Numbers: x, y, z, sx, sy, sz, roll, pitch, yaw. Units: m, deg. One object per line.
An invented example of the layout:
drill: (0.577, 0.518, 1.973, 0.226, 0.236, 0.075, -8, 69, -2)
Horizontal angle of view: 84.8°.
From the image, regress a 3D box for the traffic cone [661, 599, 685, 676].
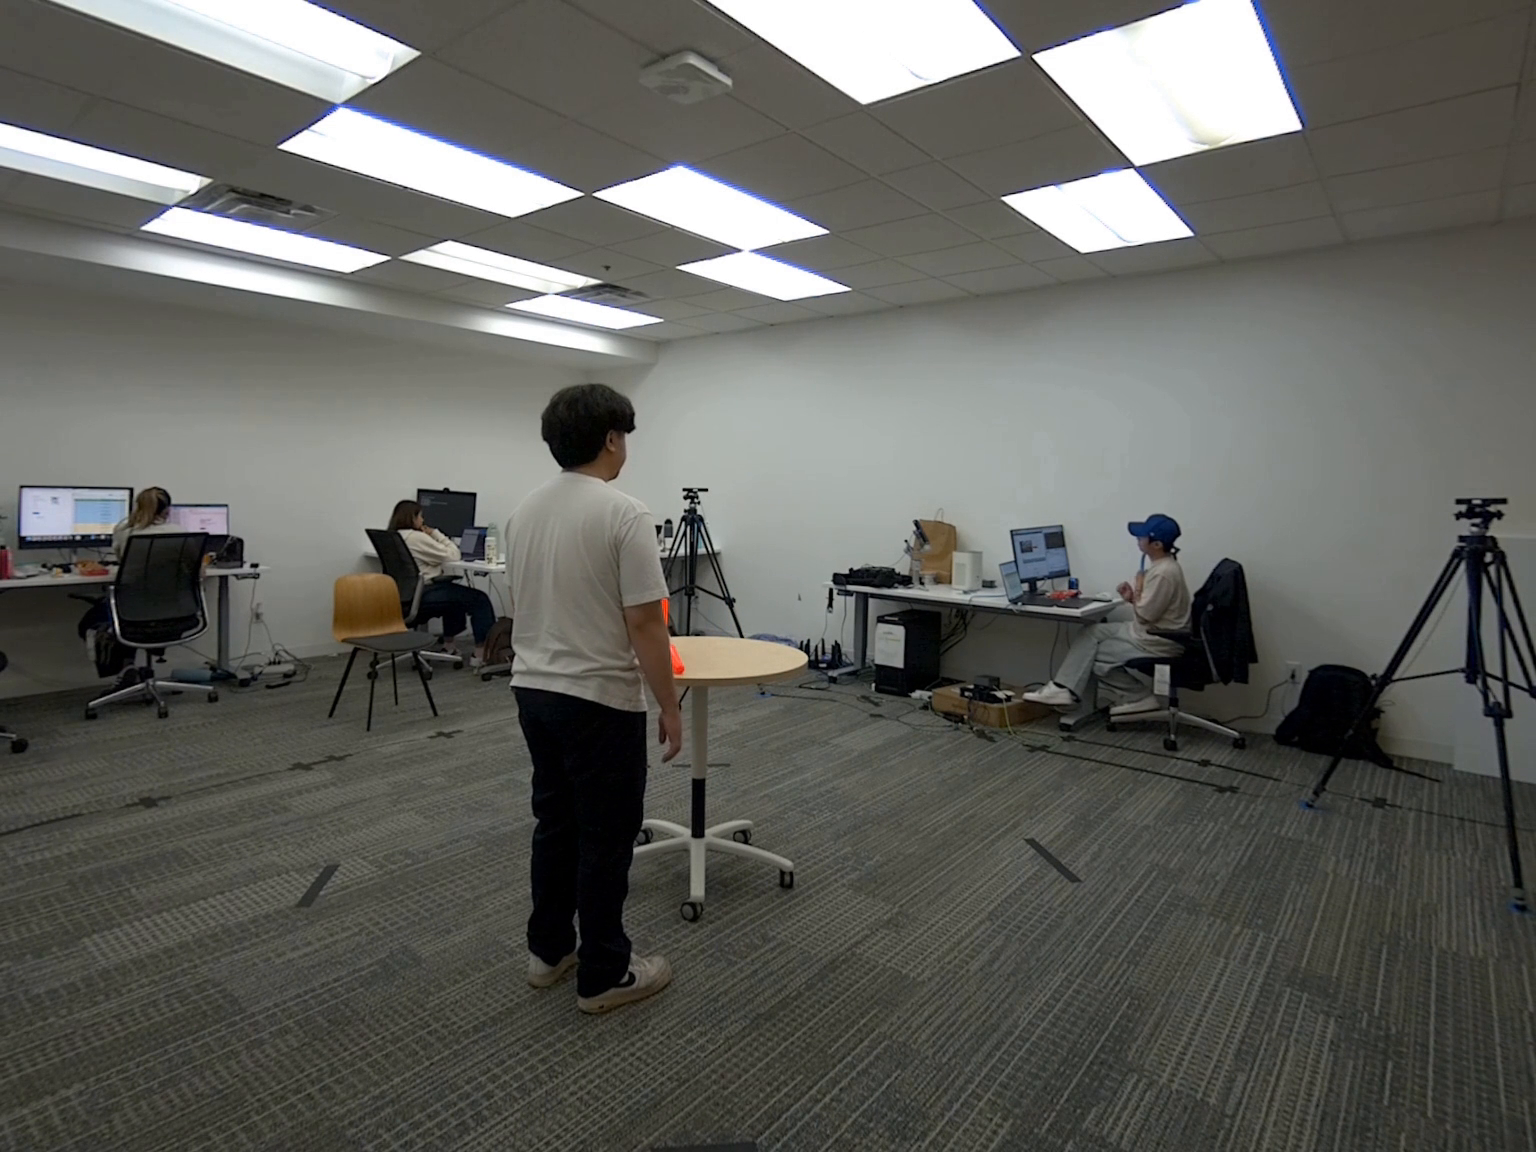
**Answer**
traffic cone: (-0.371, 0.241, 2.864, 0.199, 0.201, 0.398, 4, 16, -29)
